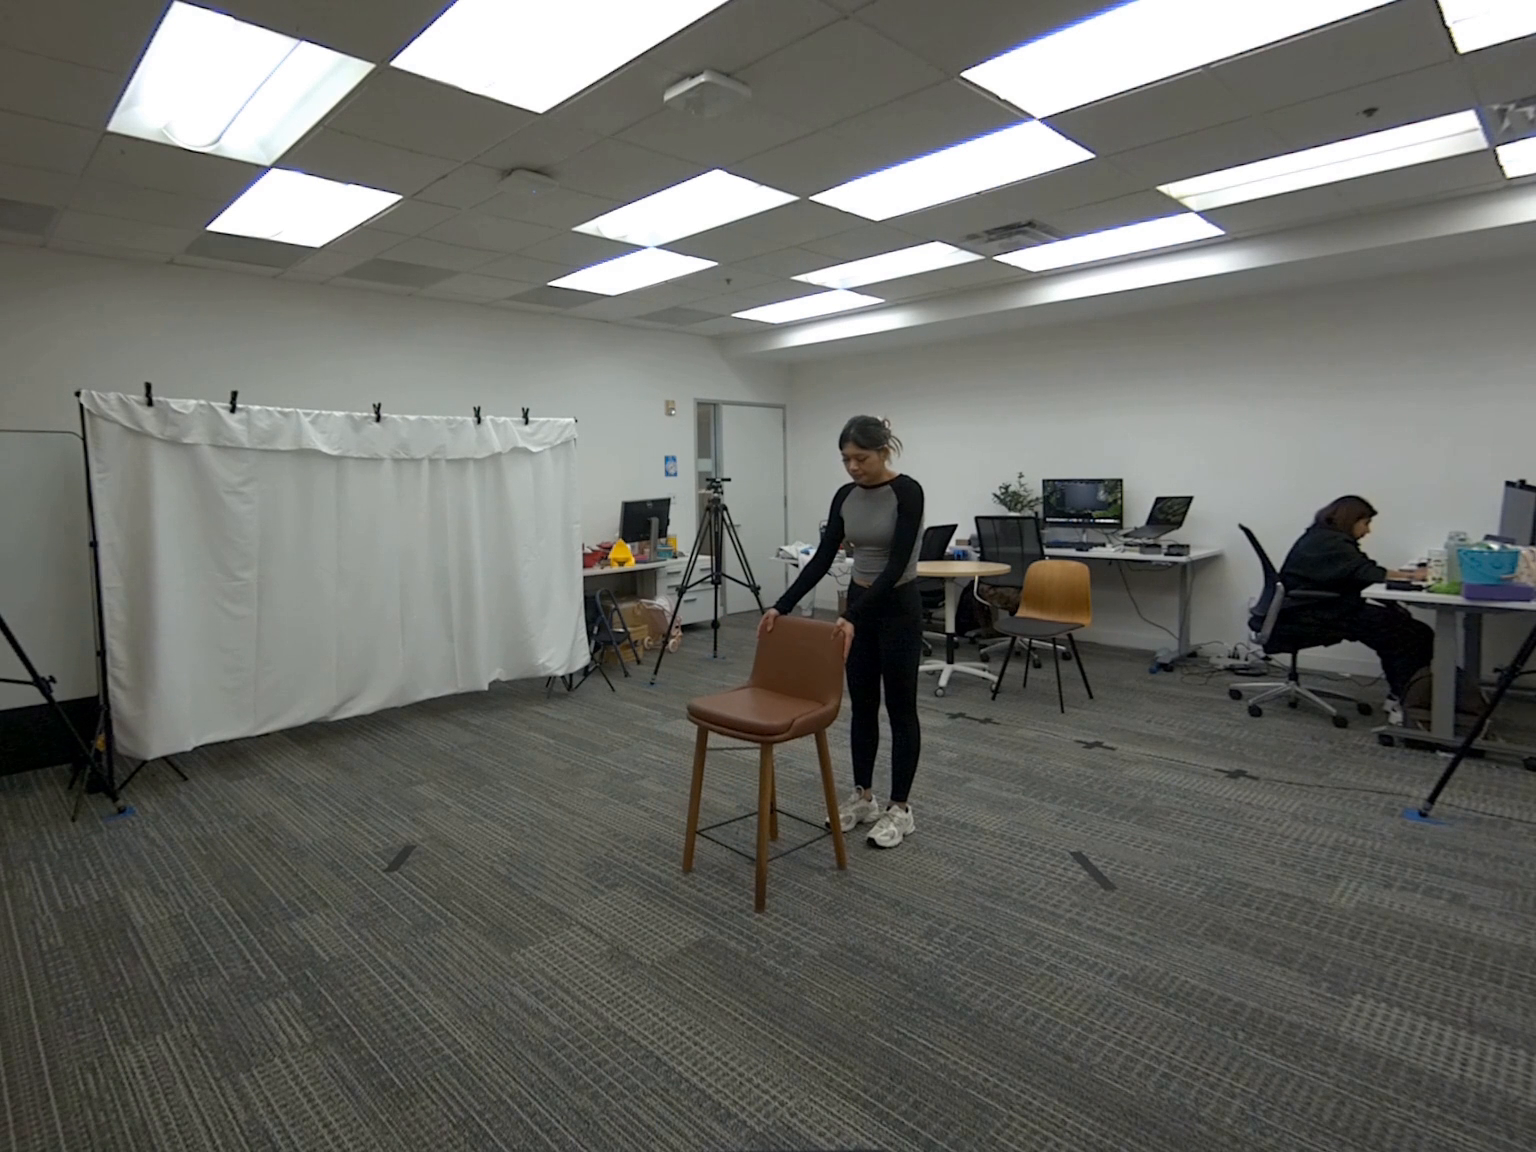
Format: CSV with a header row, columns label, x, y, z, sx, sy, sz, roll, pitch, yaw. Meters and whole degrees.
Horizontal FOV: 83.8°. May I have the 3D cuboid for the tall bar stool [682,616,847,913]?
label,x,y,z,sx,sy,sz,roll,pitch,yaw
tall bar stool,-0.001,0.612,3.019,0.454,0.888,0.470,-1,3,-43
